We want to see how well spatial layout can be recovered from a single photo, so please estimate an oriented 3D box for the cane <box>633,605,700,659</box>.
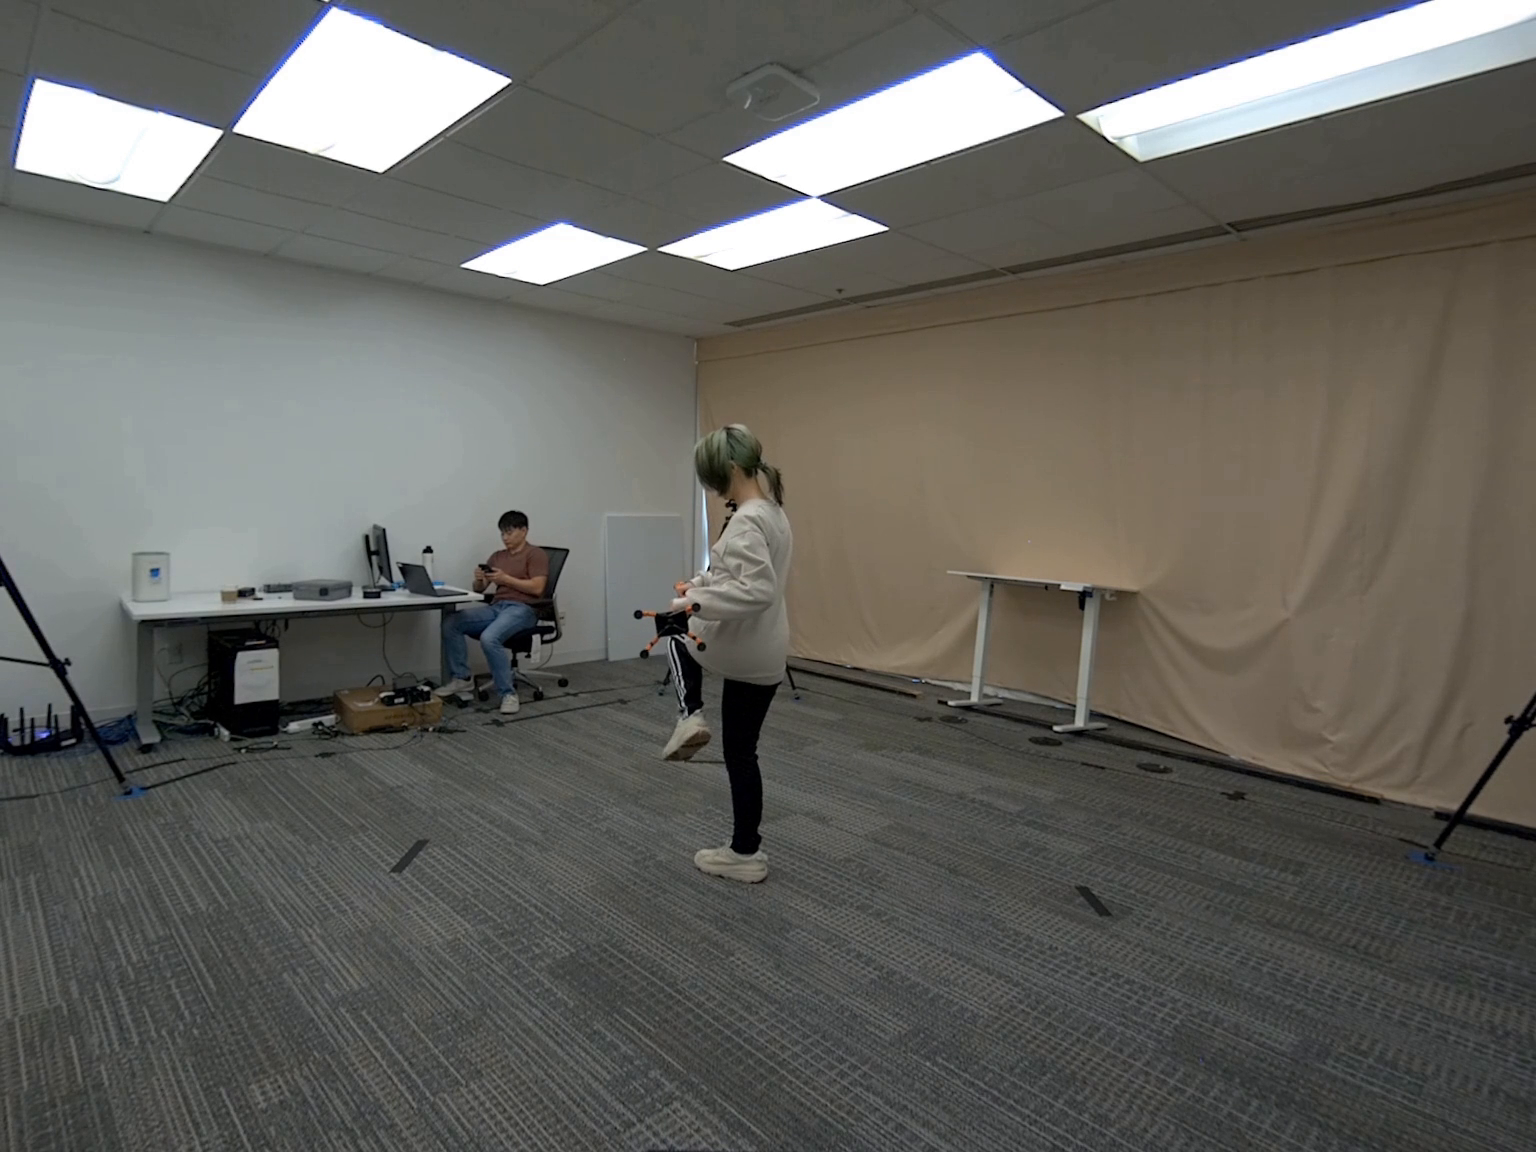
[{"bbox_3d":[-0.342,0.112,3.011,0.207,0.151,0.911,-6,8,1],"label":"cane"}]
